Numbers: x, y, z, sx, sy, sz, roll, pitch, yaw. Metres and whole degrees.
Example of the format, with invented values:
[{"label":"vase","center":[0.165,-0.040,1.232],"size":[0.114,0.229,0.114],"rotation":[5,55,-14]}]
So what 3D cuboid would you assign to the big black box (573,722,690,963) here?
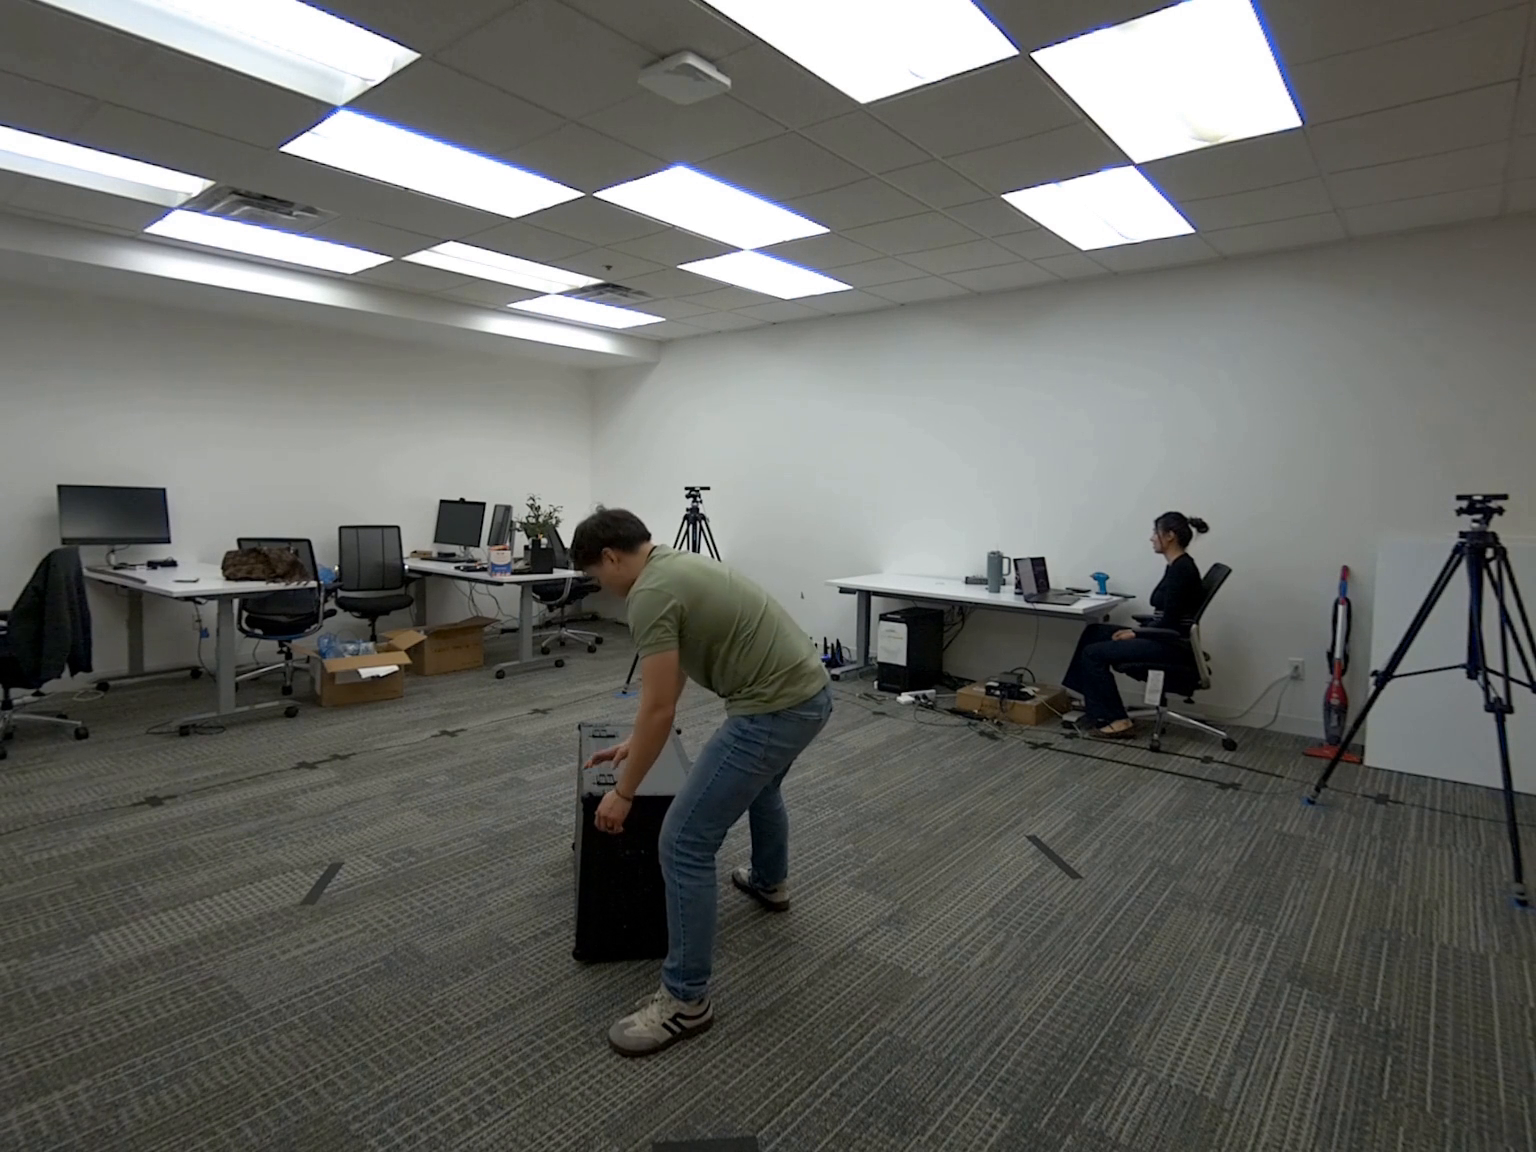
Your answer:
[{"label":"big black box","center":[-0.465,0.822,2.889],"size":[0.391,0.519,0.877],"rotation":[3,5,-14]}]
